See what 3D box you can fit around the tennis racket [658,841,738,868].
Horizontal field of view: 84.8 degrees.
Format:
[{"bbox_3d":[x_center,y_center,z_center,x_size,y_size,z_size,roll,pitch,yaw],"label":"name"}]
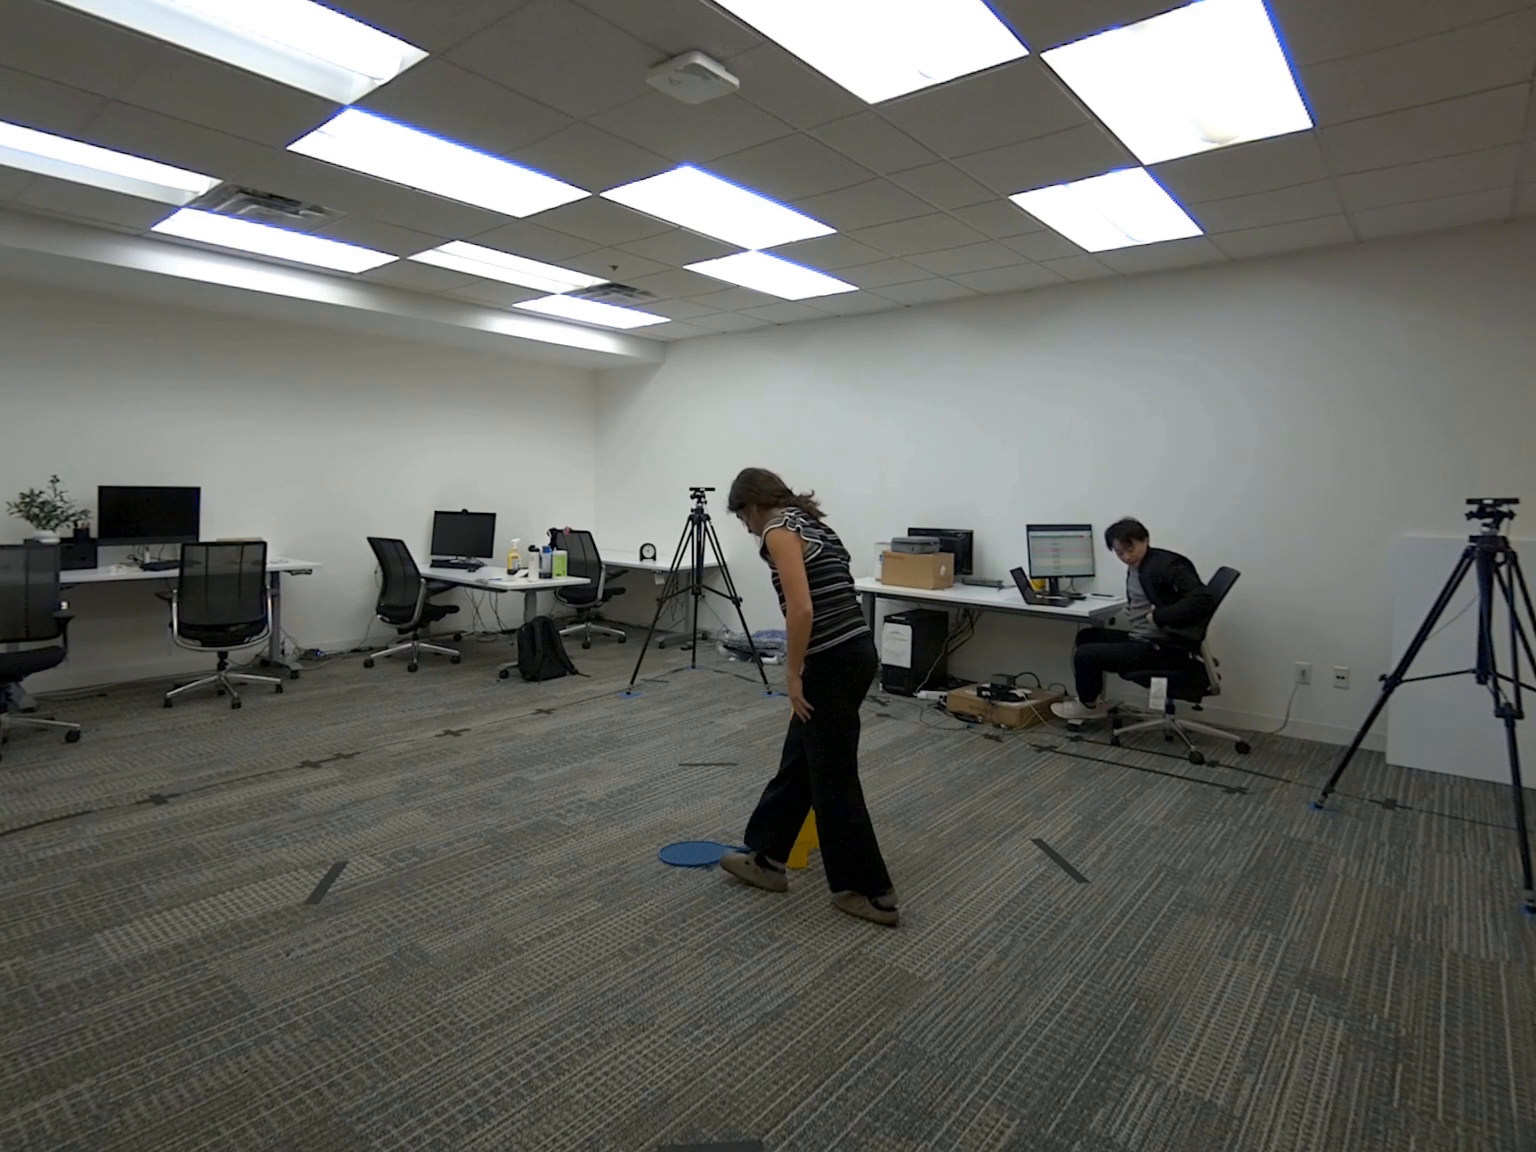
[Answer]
[{"bbox_3d":[-0.212,1.039,3.224,0.431,0.031,0.215,-1,6,-4],"label":"tennis racket"}]
